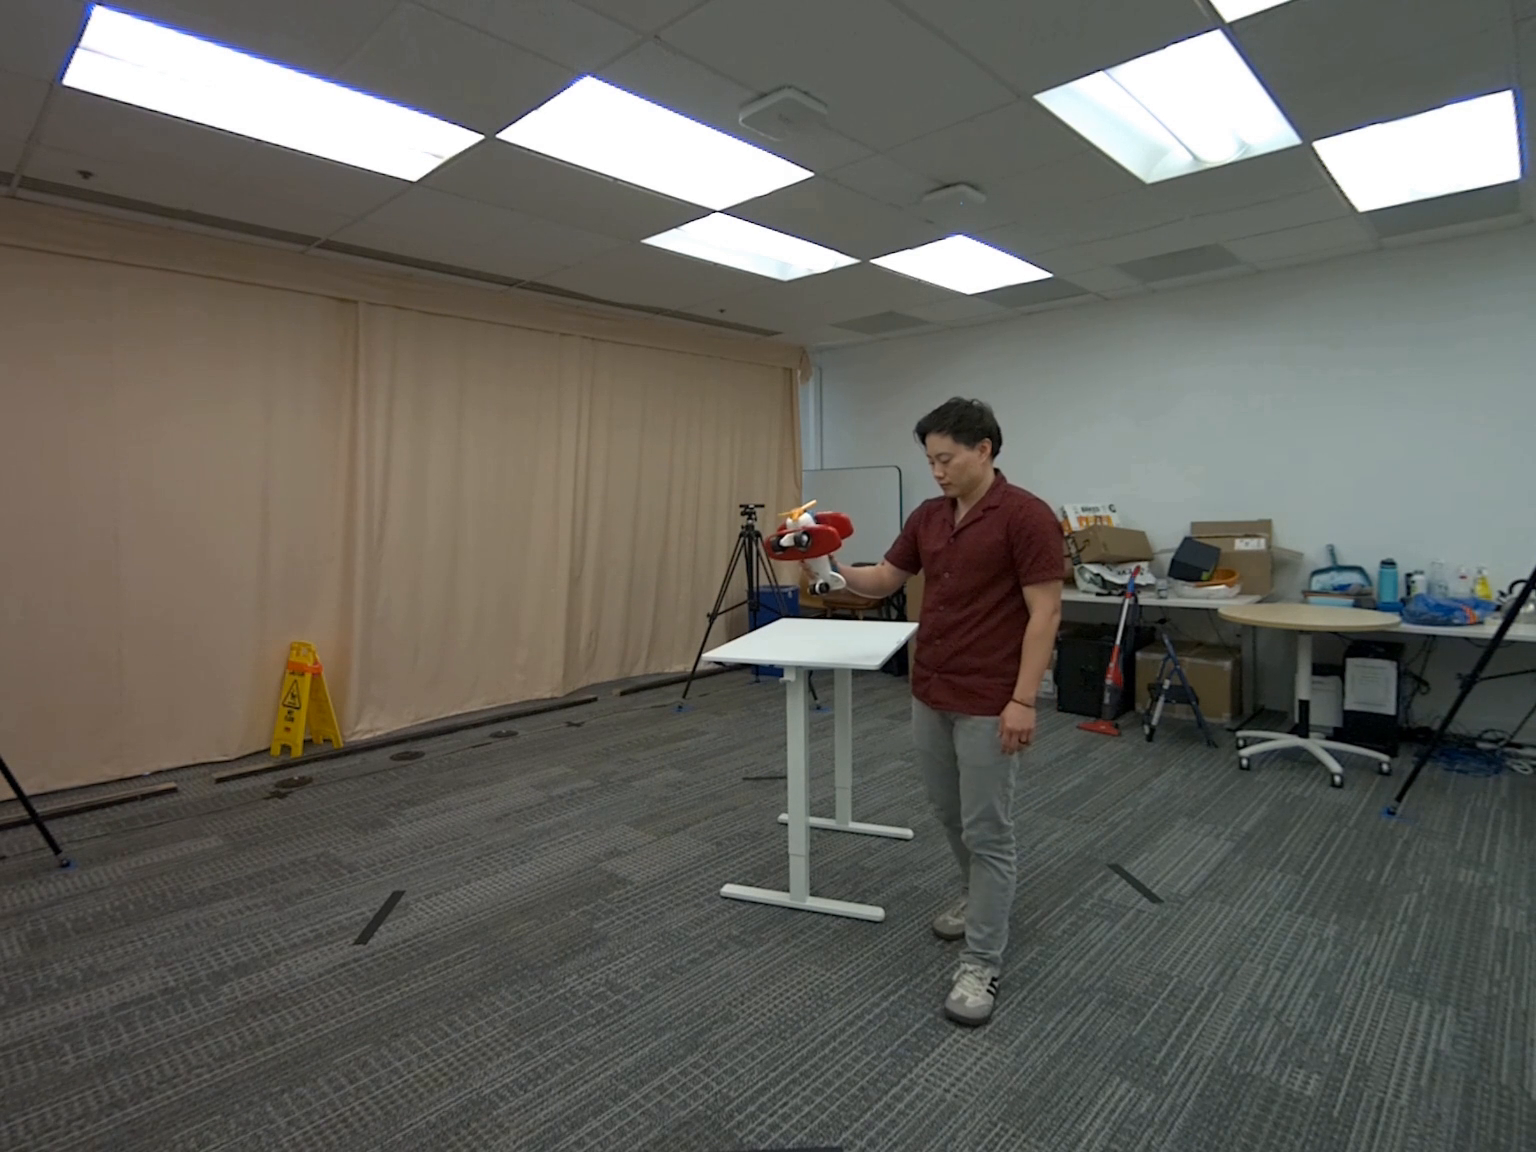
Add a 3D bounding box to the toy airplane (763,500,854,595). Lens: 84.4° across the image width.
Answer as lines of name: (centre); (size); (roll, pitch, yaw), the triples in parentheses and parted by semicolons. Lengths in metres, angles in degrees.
toy airplane: (0.118, -0.068, 2.406); (0.257, 0.253, 0.156); (13, 48, 20)
